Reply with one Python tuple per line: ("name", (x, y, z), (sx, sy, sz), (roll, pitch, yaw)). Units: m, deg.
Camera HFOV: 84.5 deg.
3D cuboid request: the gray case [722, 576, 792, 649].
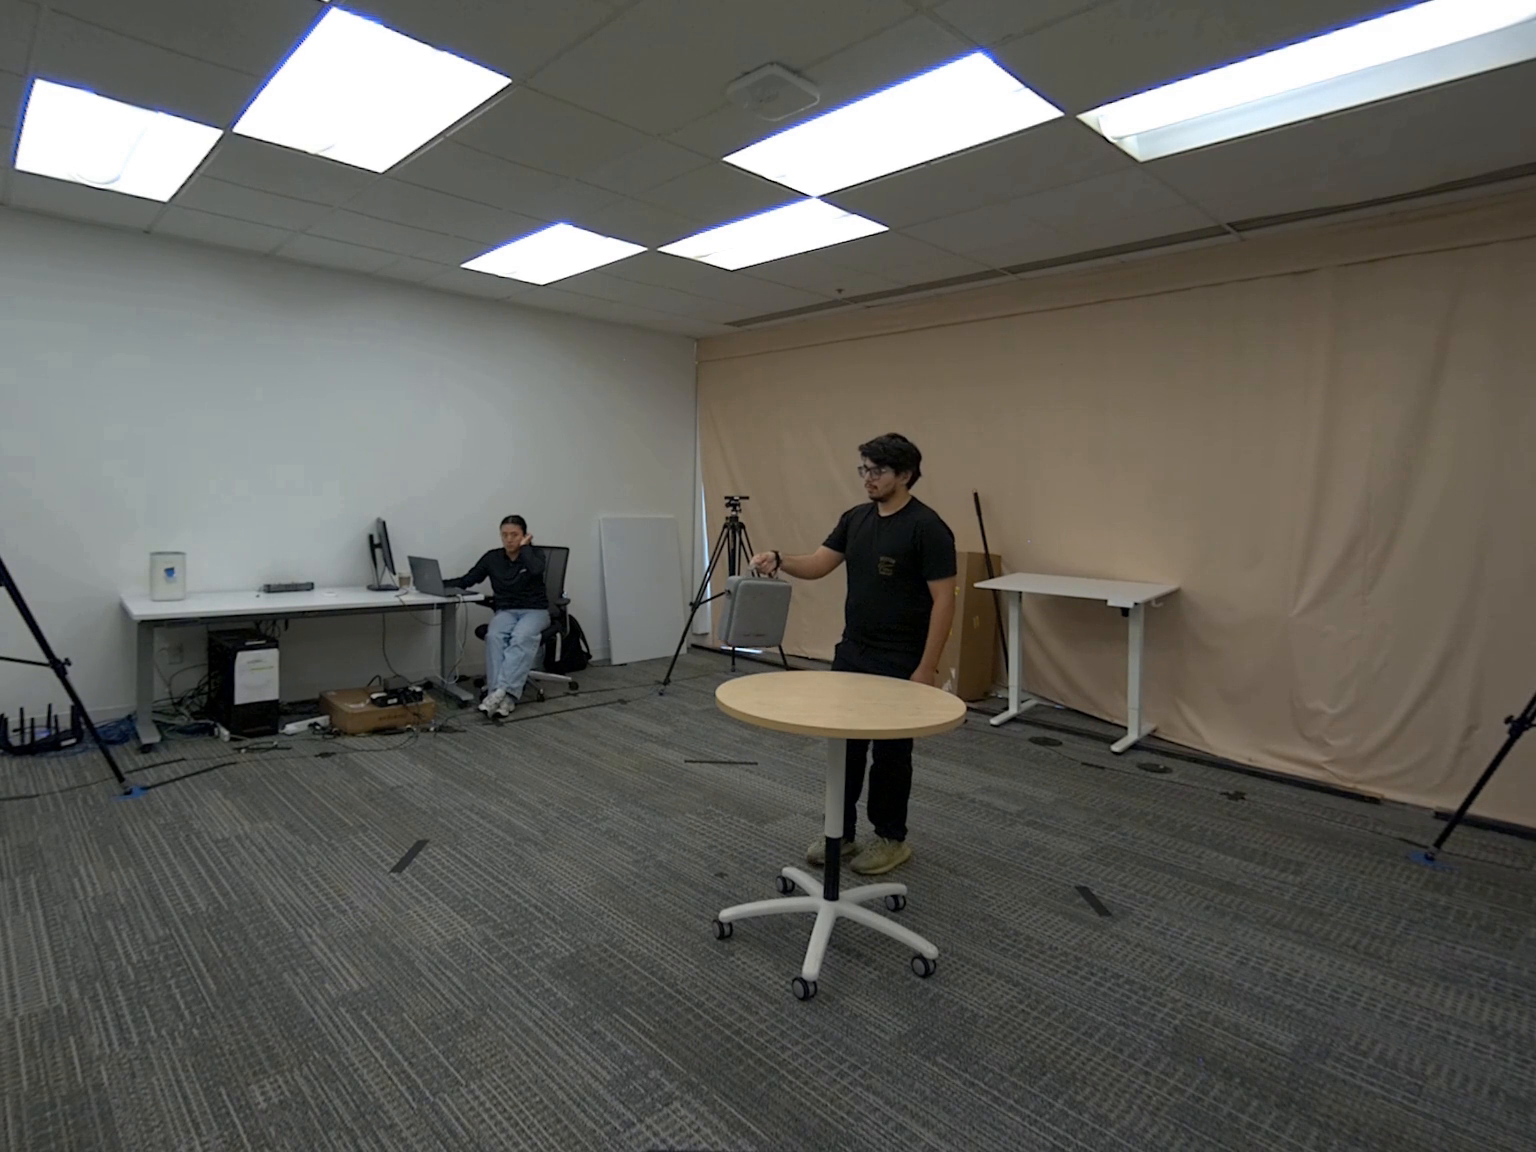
("gray case", (-0.055, 0.129, 3.078), (0.250, 0.260, 0.107), (5, 6, -40))
